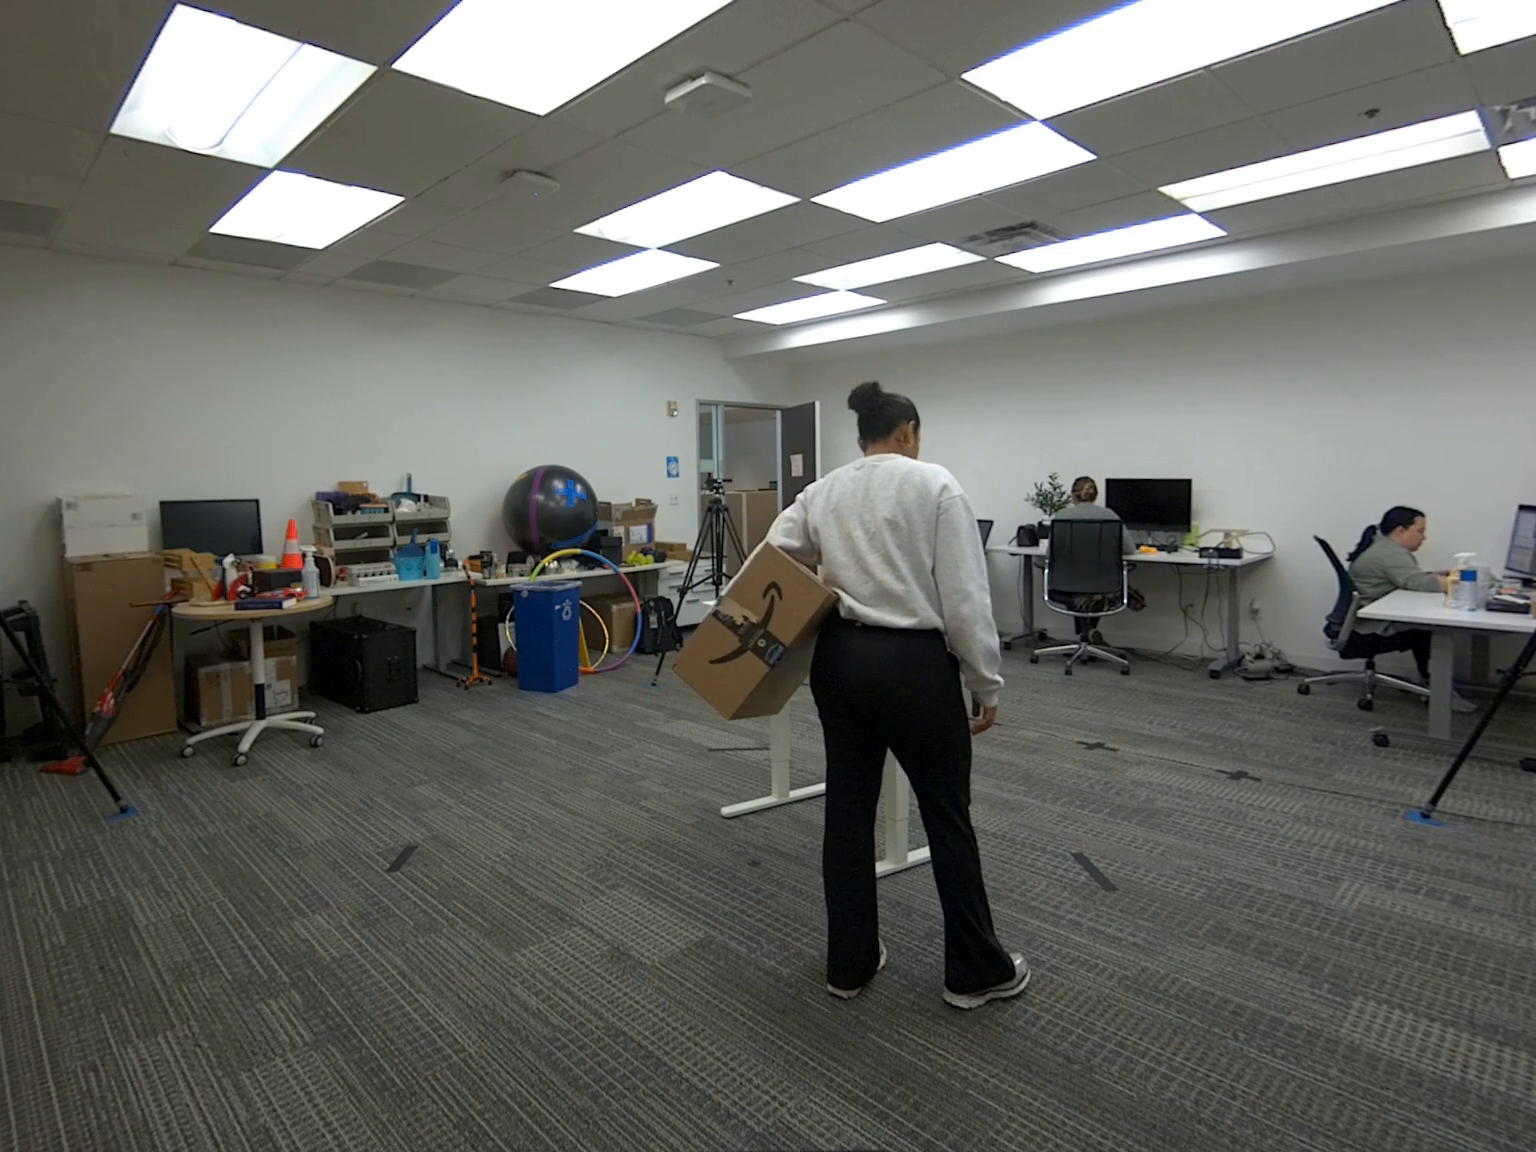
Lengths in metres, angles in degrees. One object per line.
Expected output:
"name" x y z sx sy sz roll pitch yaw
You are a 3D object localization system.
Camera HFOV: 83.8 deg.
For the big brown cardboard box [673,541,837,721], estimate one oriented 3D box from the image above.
"big brown cardboard box" 0.024 0.176 2.424 0.238 0.417 0.577 39 3 14
